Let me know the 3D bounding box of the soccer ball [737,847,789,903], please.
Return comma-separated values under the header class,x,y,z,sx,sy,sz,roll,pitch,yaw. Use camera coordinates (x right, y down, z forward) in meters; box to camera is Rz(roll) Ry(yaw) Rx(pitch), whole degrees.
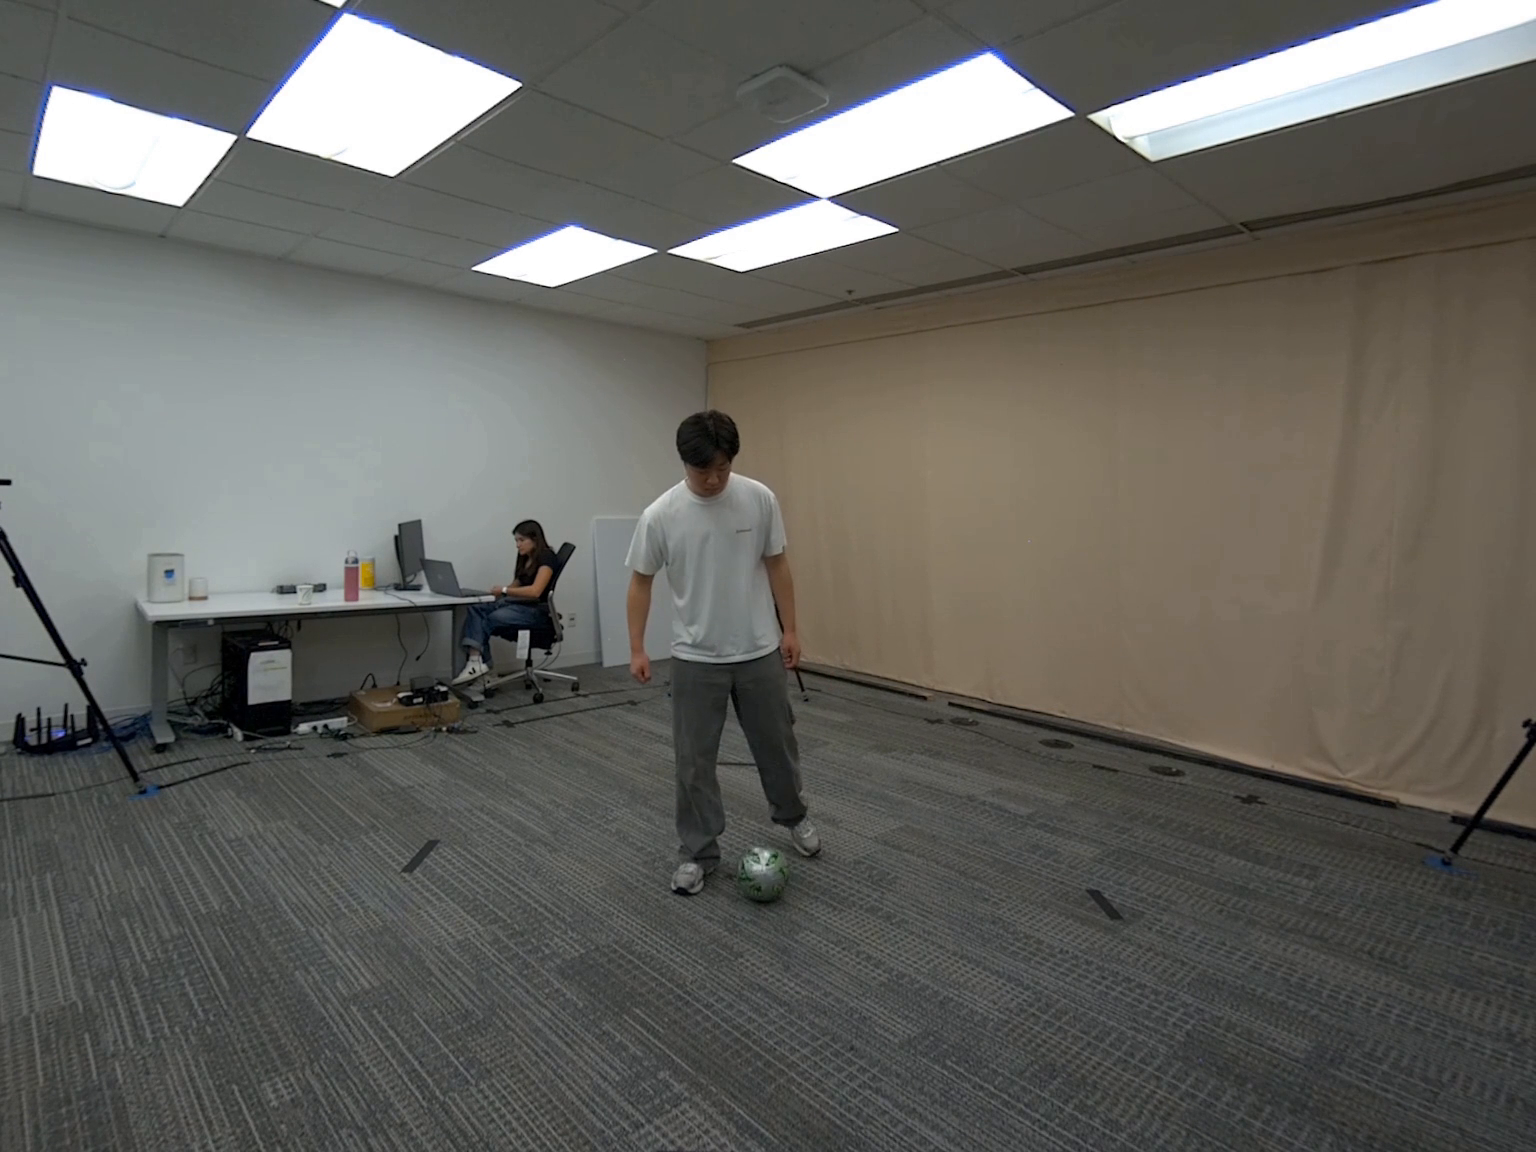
class,x,y,z,sx,sy,sz,roll,pitch,yaw
soccer ball,-0.026,1.038,2.923,0.187,0.187,0.188,1,4,-1
